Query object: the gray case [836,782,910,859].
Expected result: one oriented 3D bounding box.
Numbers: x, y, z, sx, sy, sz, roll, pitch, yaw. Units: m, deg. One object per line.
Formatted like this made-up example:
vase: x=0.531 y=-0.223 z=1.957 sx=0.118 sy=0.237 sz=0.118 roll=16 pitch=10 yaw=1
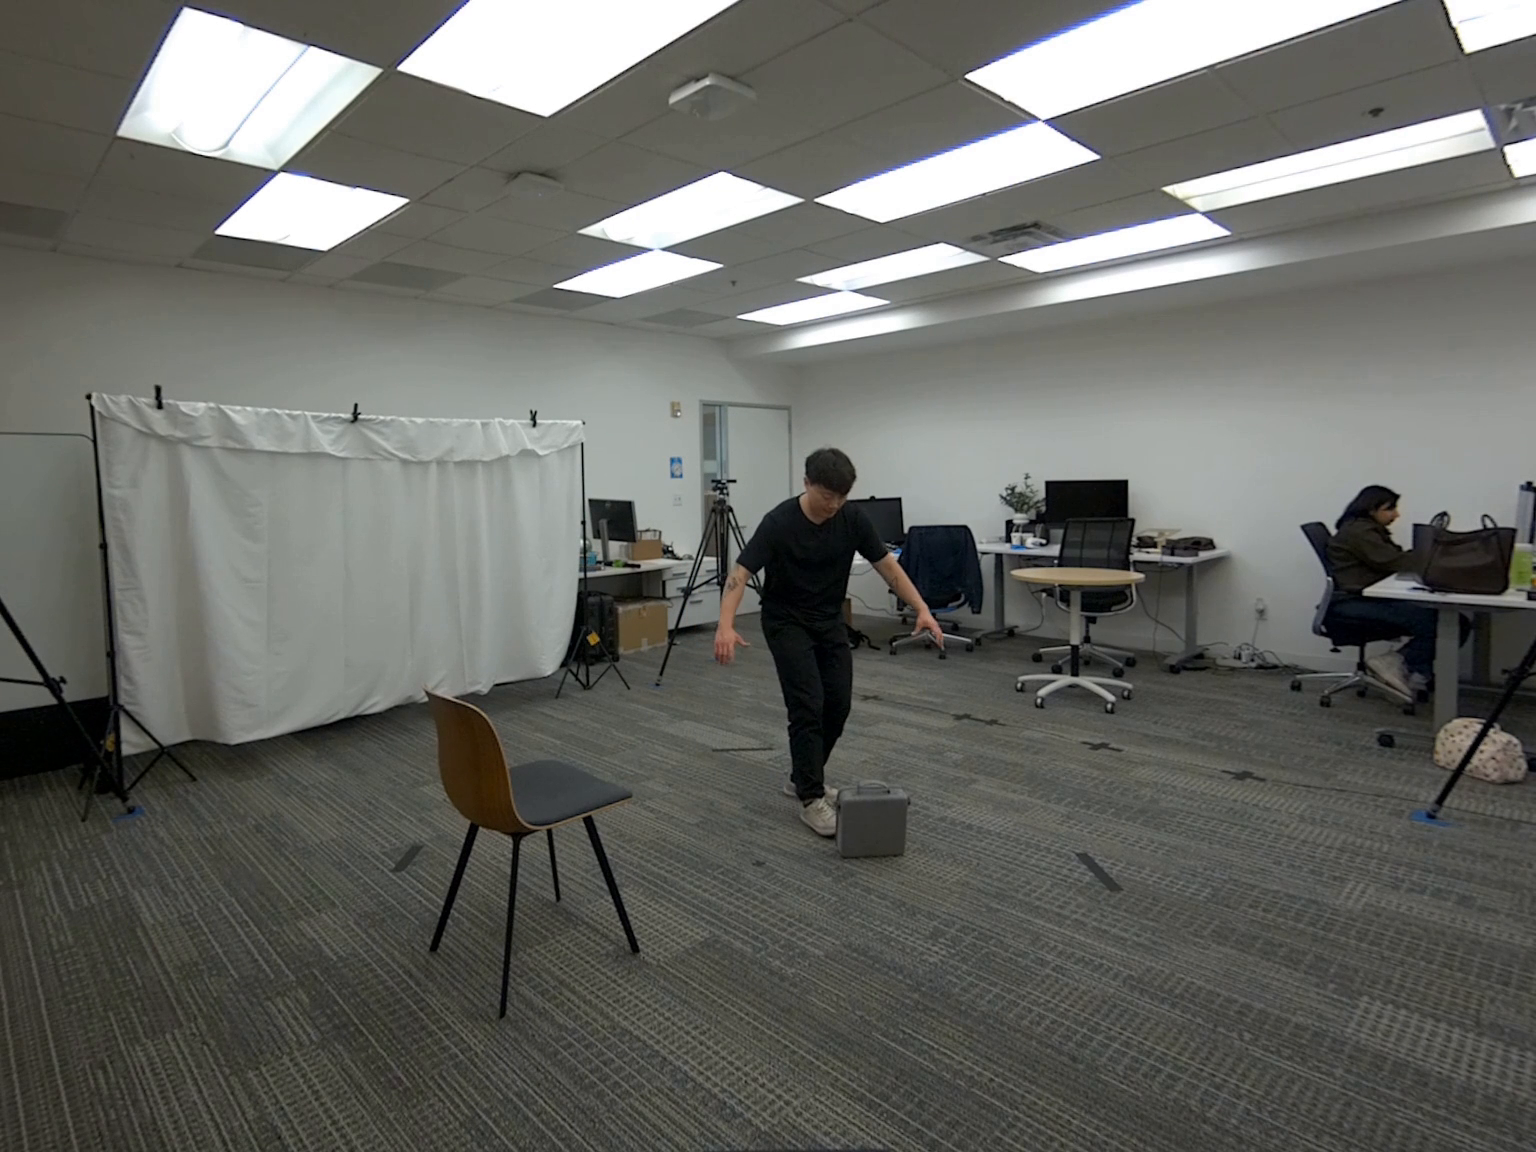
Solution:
gray case: x=0.386 y=0.902 z=3.159 sx=0.256 sy=0.257 sz=0.106 roll=-2 pitch=14 yaw=-4
